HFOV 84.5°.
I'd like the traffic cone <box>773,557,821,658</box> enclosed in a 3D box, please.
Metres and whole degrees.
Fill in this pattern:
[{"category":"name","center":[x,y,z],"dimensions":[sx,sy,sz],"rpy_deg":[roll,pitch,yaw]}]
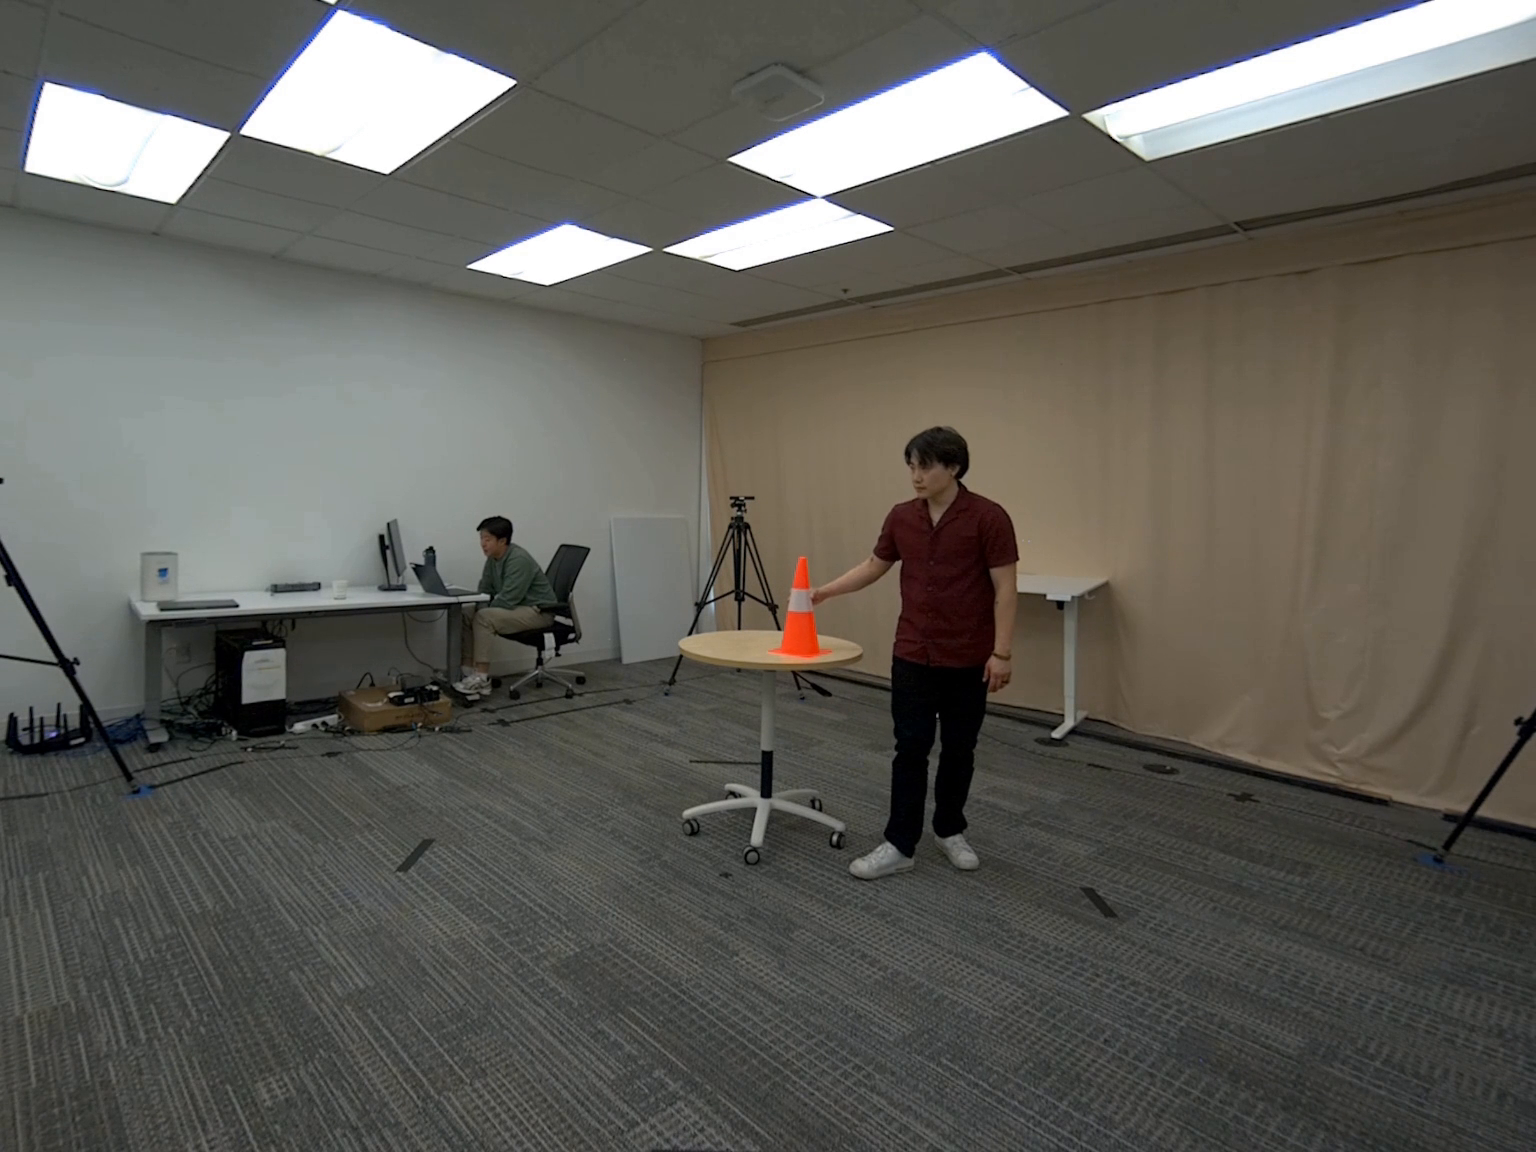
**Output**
[{"category":"traffic cone","center":[0.133,0.119,3.370],"dimensions":[0.207,0.382,0.201],"rpy_deg":[5,5,26]}]
